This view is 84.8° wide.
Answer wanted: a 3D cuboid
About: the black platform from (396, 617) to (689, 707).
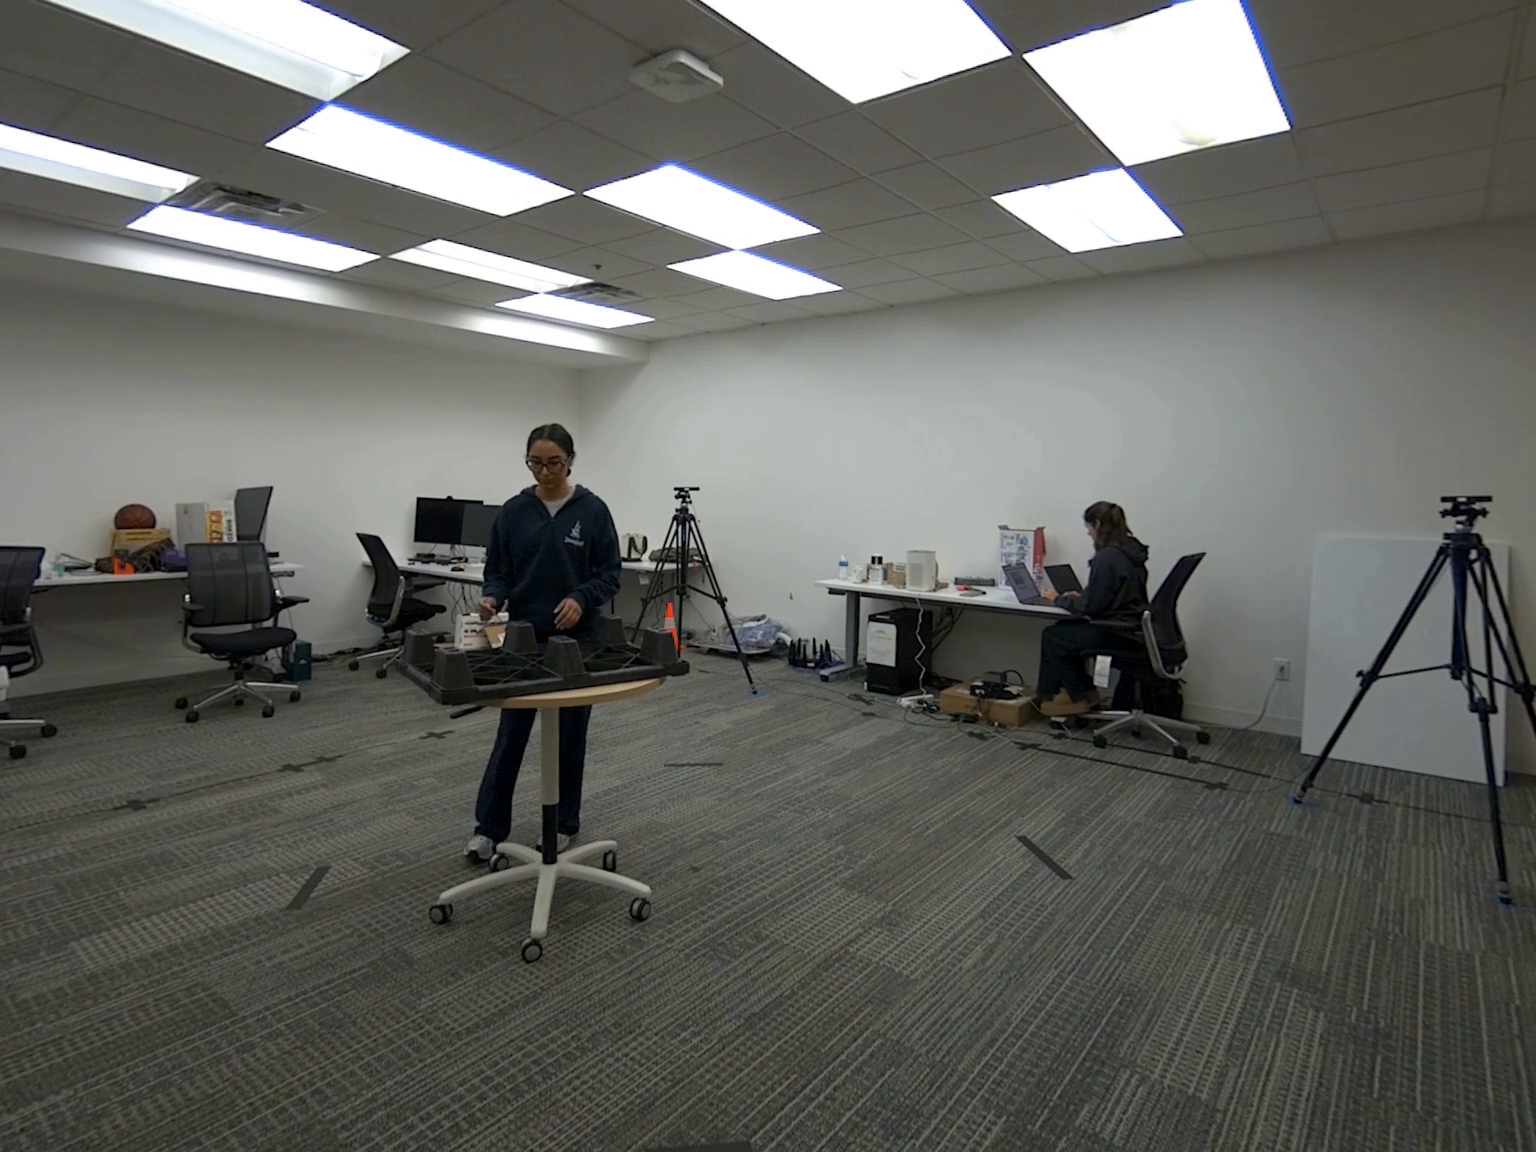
[{"bbox_3d":[-0.750,0.245,2.771,0.783,0.143,0.625,-3,6,-35],"label":"black platform"}]
